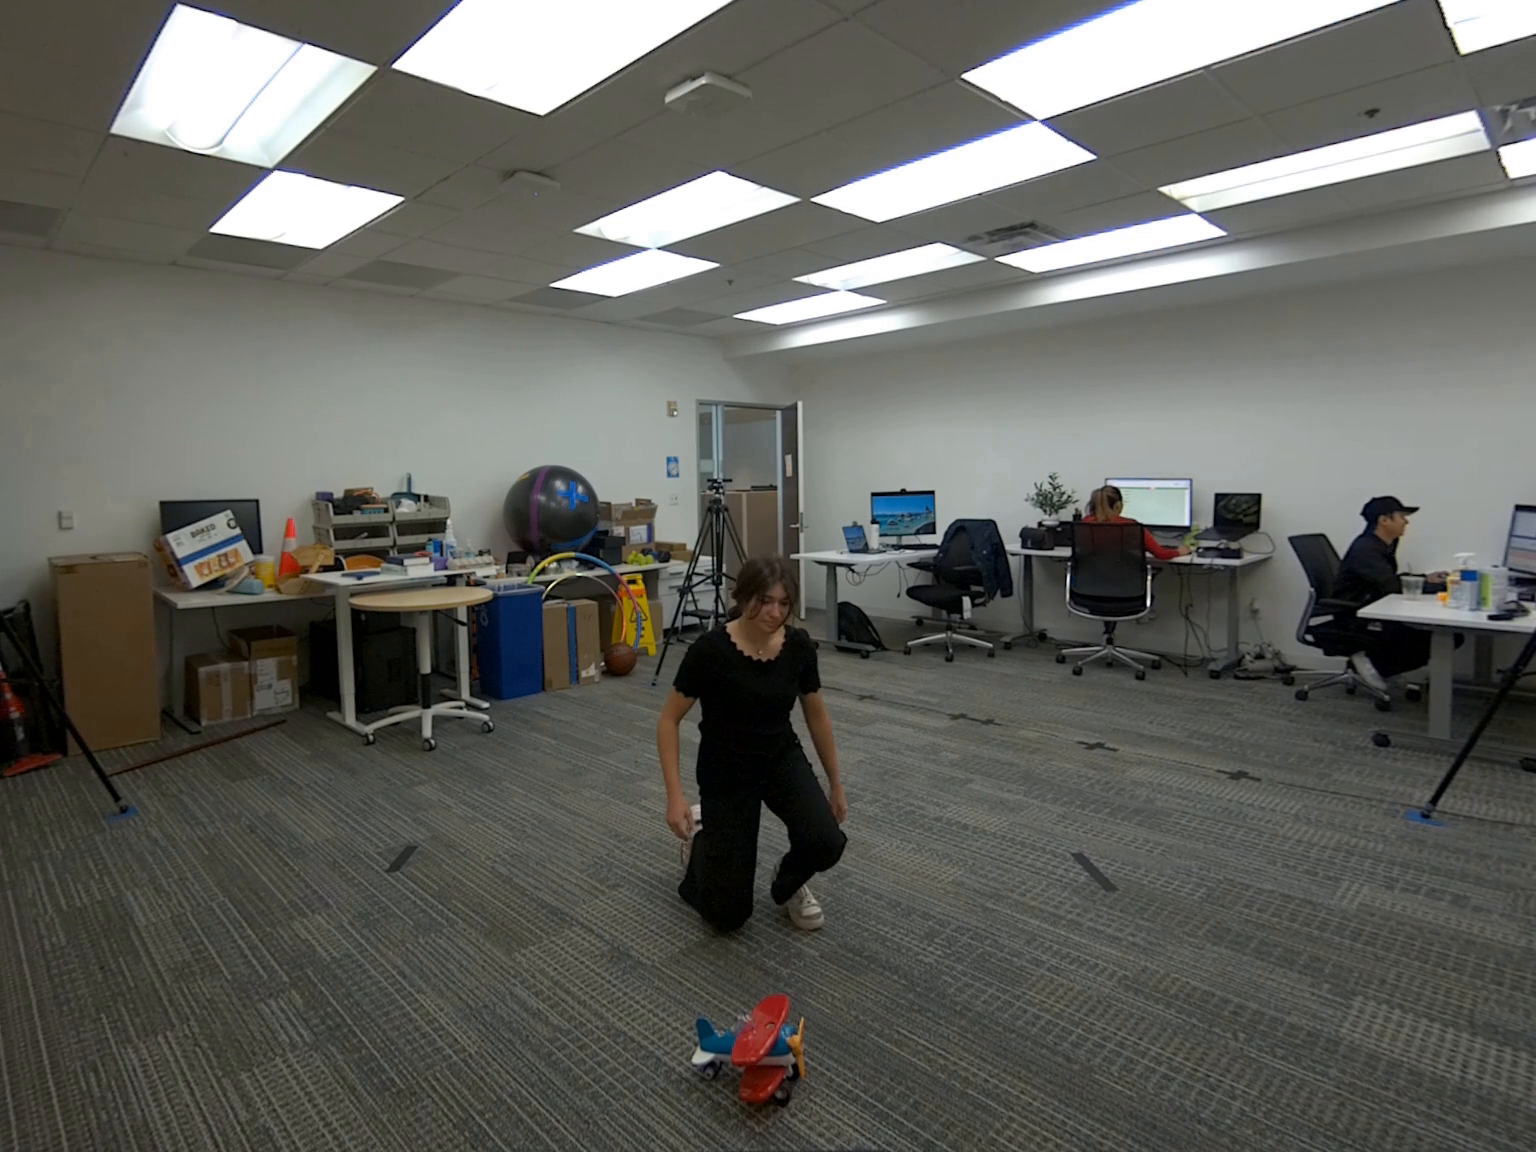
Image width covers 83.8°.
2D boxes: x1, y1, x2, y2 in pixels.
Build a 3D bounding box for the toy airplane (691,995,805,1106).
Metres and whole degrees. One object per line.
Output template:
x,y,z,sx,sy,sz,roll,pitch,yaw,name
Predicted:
-0.040,1.116,1.956,0.257,0.155,0.254,-1,6,-8,toy airplane
